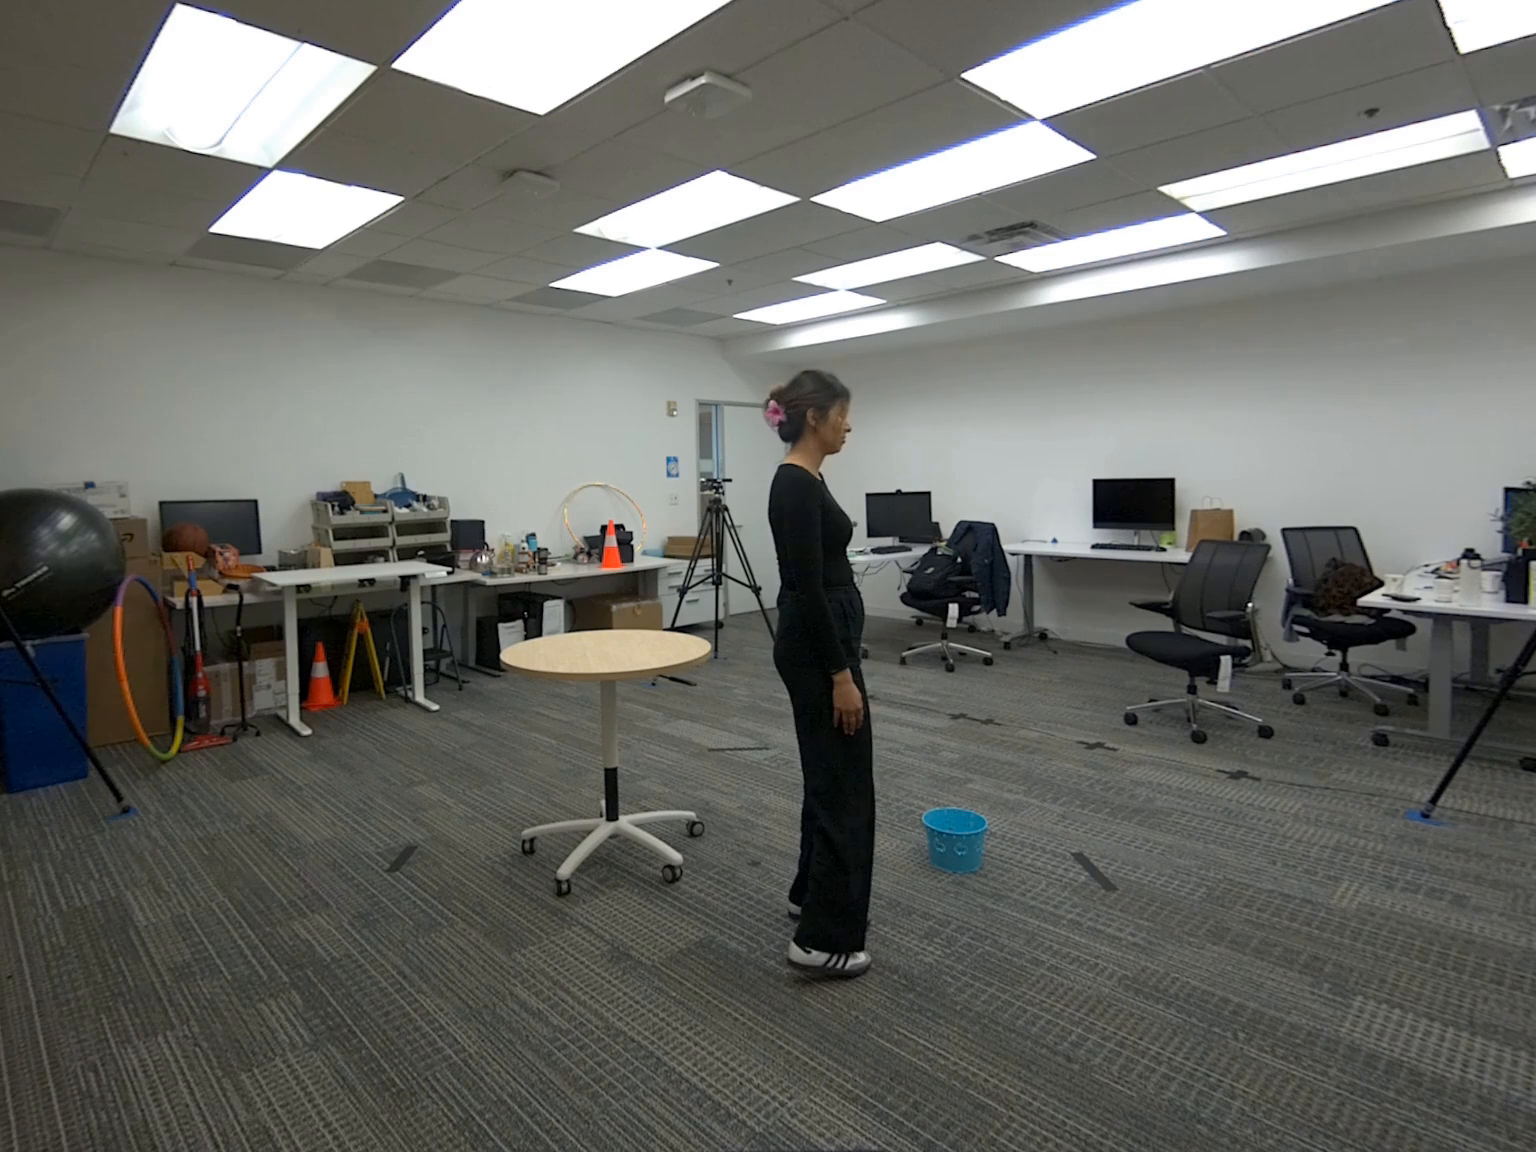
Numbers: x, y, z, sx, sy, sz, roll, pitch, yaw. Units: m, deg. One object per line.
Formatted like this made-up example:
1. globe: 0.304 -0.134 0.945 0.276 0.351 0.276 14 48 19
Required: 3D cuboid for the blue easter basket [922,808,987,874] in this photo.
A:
1. blue easter basket: 0.684 0.956 3.095 0.243 0.155 0.245 -1 6 -2
